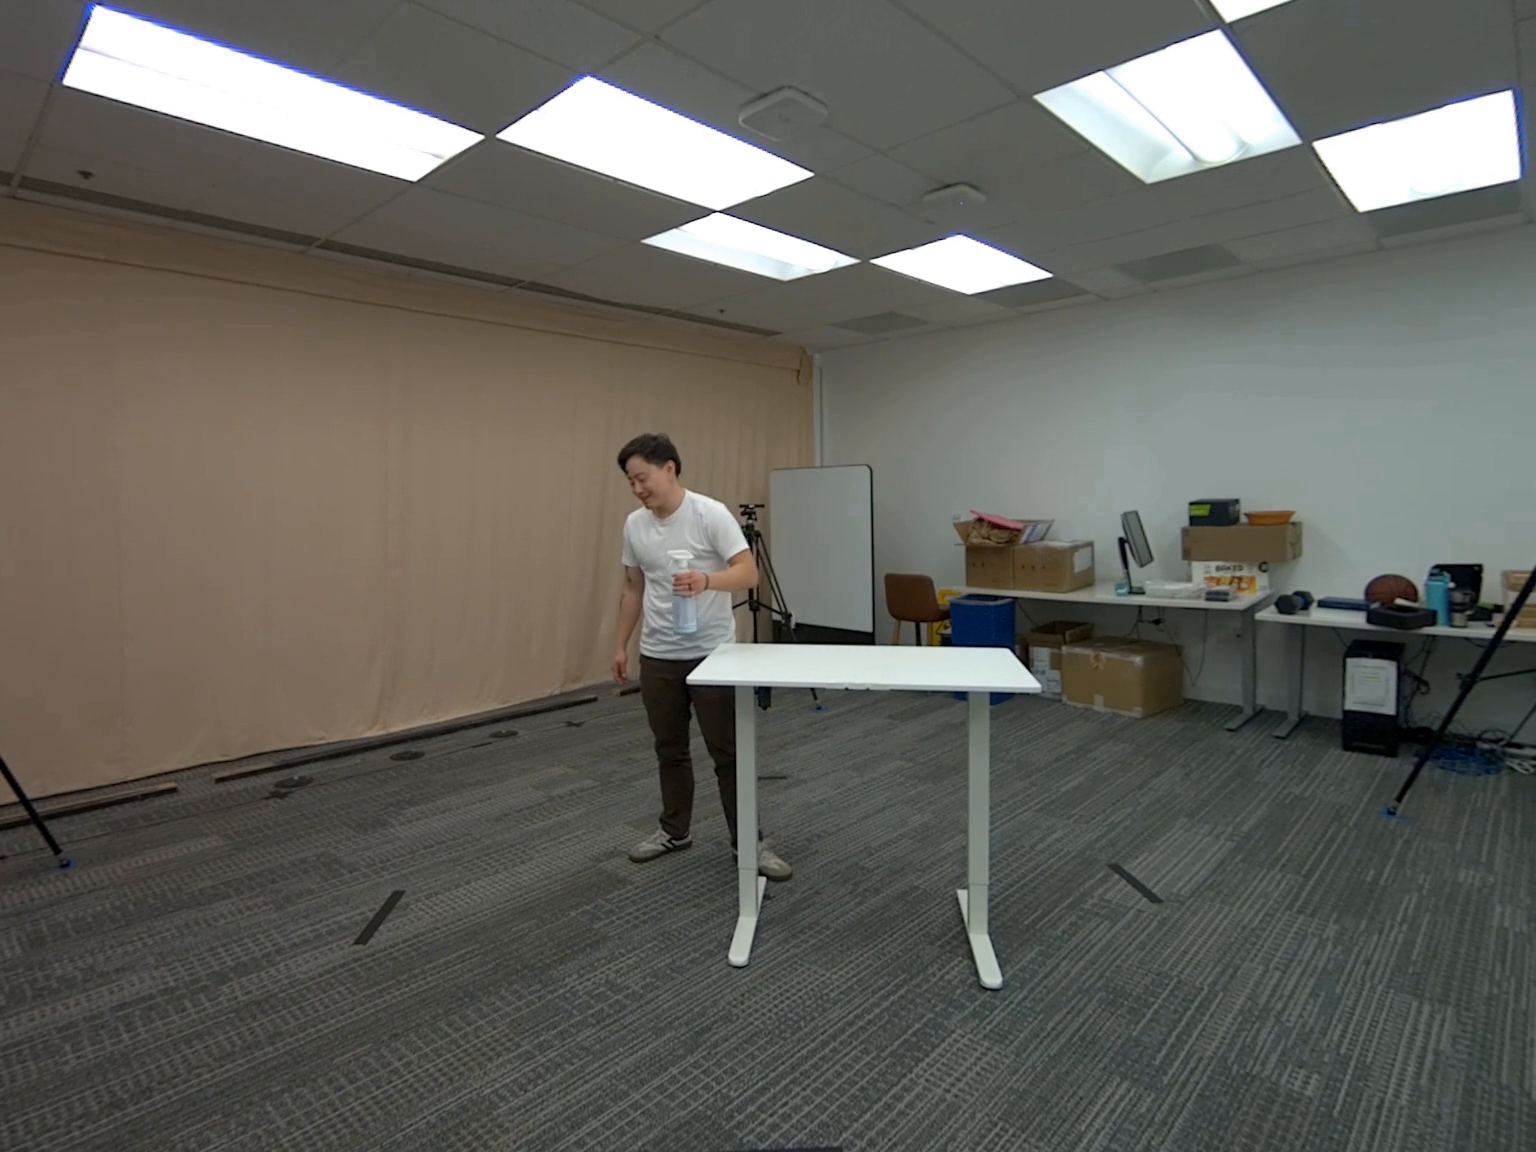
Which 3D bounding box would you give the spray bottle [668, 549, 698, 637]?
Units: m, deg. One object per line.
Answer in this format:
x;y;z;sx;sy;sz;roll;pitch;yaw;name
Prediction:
-0.287;0.060;2.897;0.091;0.295;0.087;0;13;9;spray bottle
